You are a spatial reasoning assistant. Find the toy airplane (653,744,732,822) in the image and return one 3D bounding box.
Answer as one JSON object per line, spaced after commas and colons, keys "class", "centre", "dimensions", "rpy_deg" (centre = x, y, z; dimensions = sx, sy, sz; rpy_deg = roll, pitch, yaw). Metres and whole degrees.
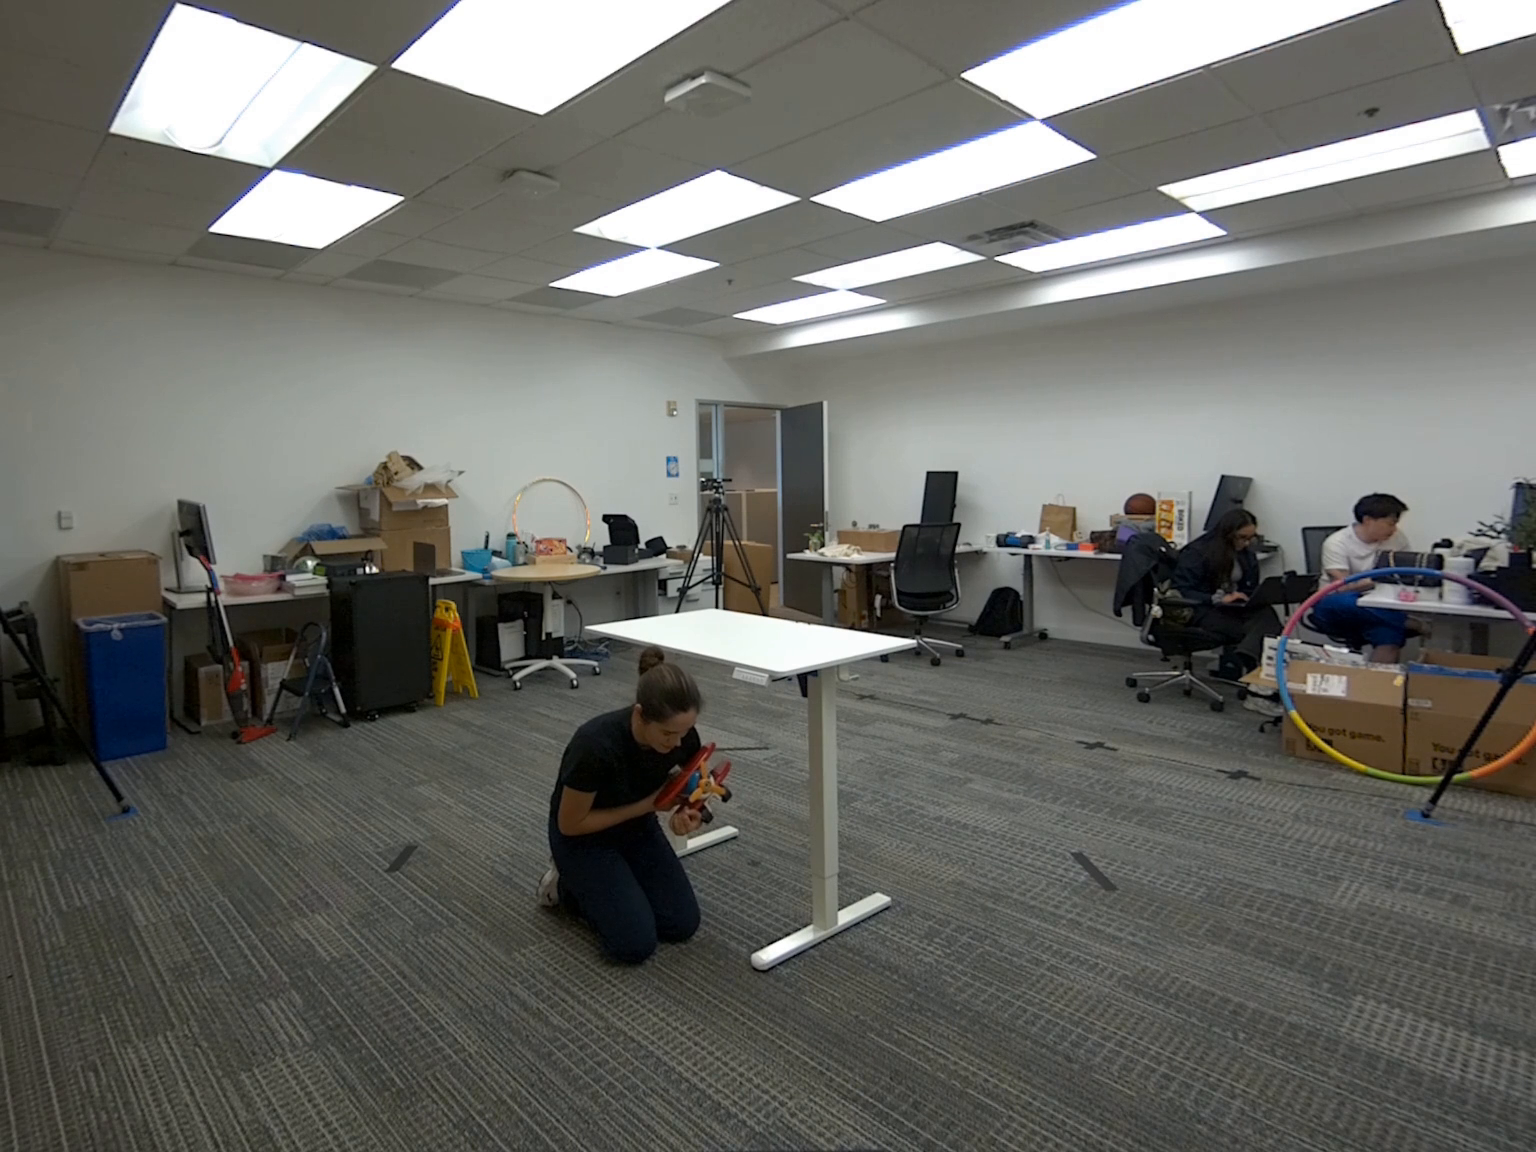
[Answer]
{"class": "toy airplane", "centre": [-0.242, 0.641, 2.569], "dimensions": [0.263, 0.152, 0.254], "rpy_deg": [-19, 28, 27]}
